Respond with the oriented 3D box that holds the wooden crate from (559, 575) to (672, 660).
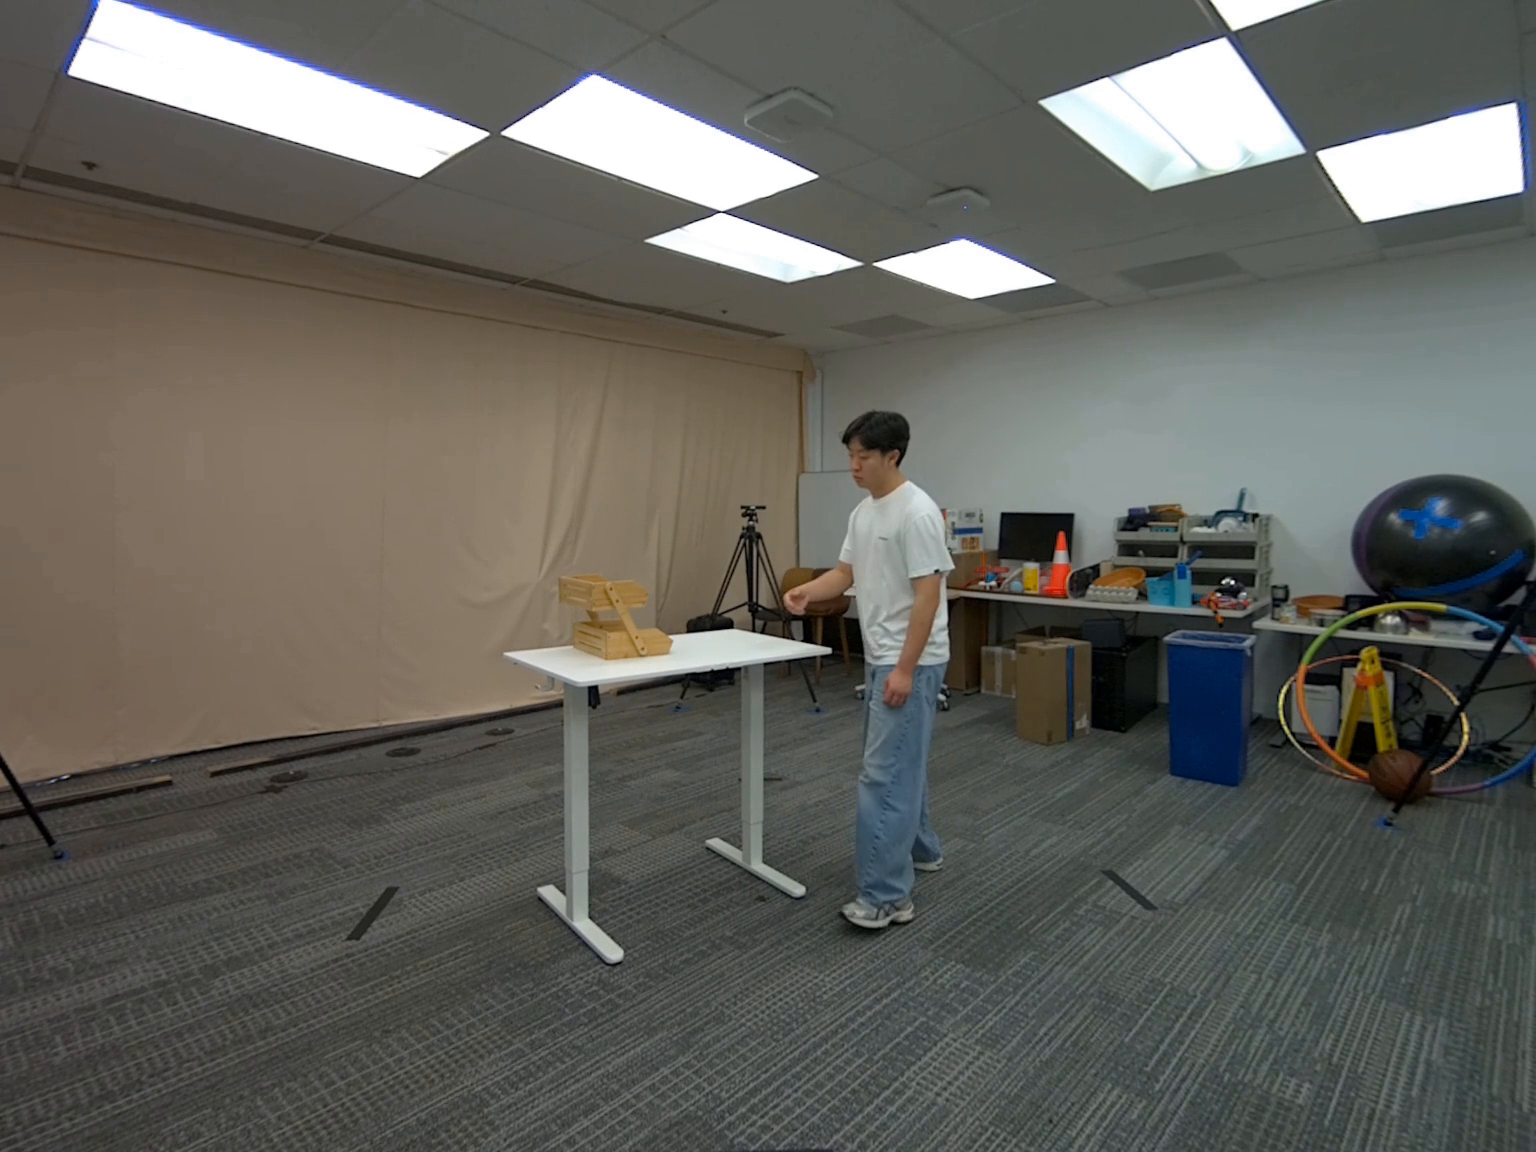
[{"bbox_3d":[-0.535,0.134,2.954,0.293,0.273,0.334,-3,4,-33],"label":"wooden crate"}]
